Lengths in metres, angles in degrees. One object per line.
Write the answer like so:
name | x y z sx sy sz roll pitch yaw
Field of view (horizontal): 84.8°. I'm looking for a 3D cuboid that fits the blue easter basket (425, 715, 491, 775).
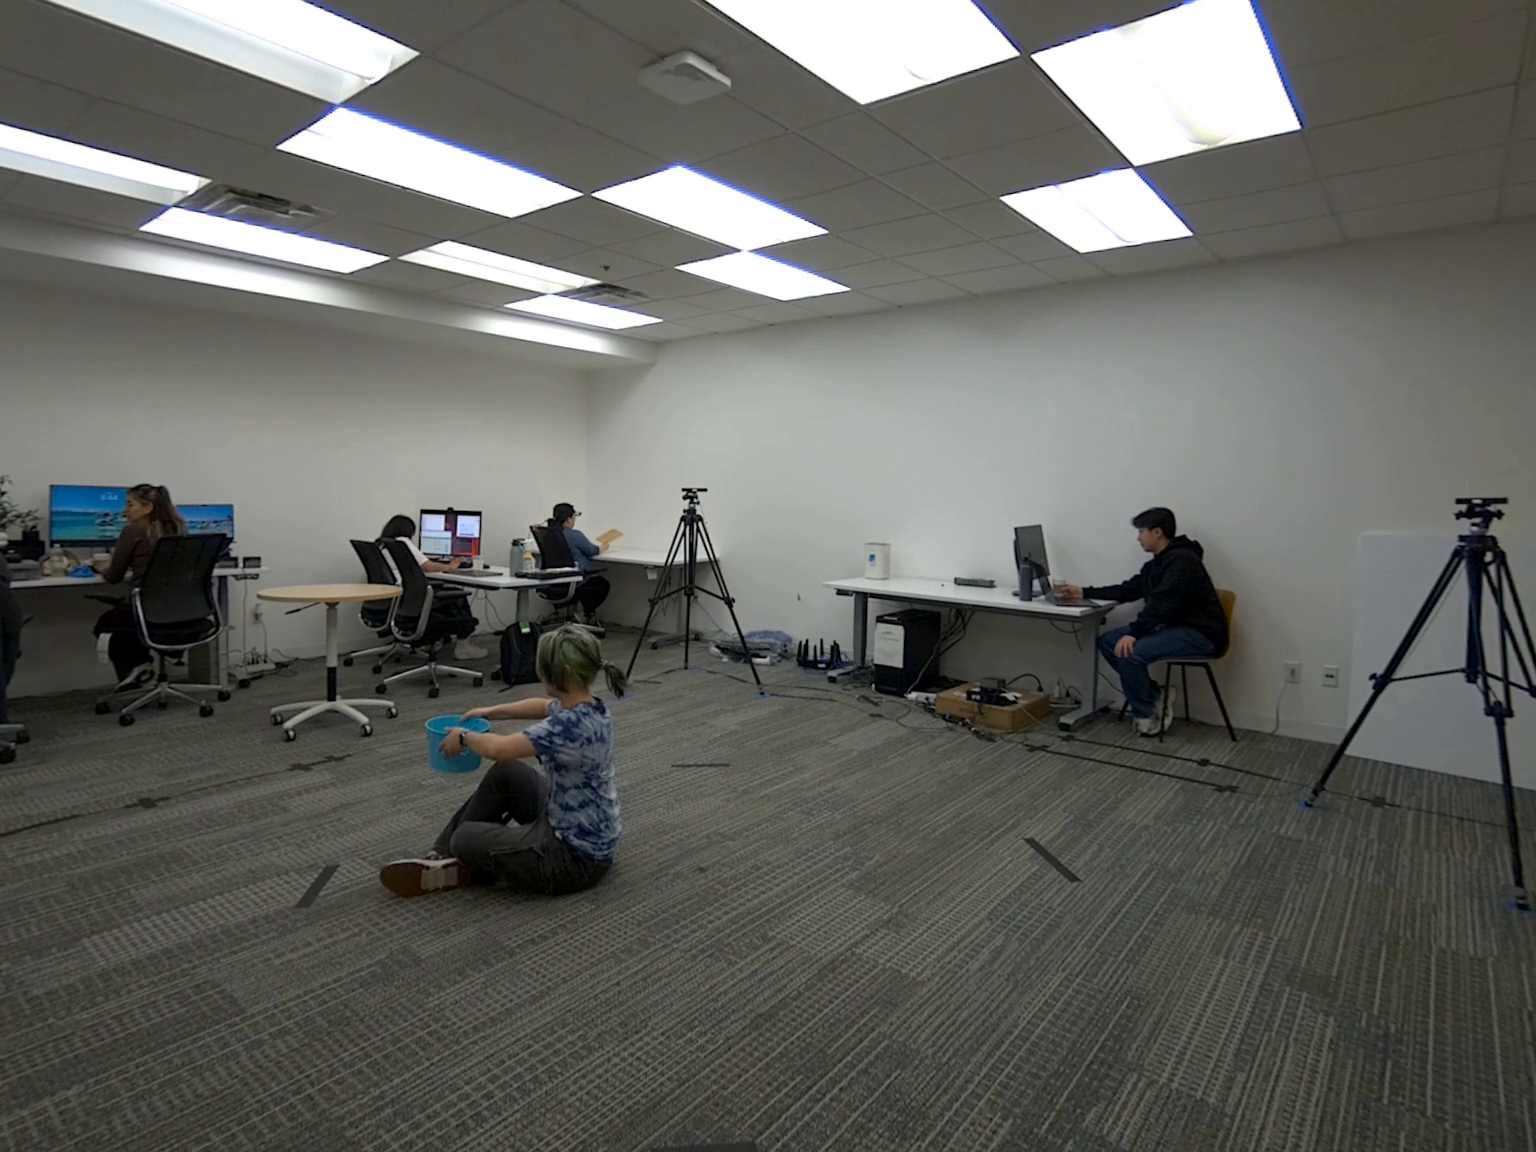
blue easter basket | -1.154 0.620 3.114 0.243 0.155 0.245 5 6 -2
